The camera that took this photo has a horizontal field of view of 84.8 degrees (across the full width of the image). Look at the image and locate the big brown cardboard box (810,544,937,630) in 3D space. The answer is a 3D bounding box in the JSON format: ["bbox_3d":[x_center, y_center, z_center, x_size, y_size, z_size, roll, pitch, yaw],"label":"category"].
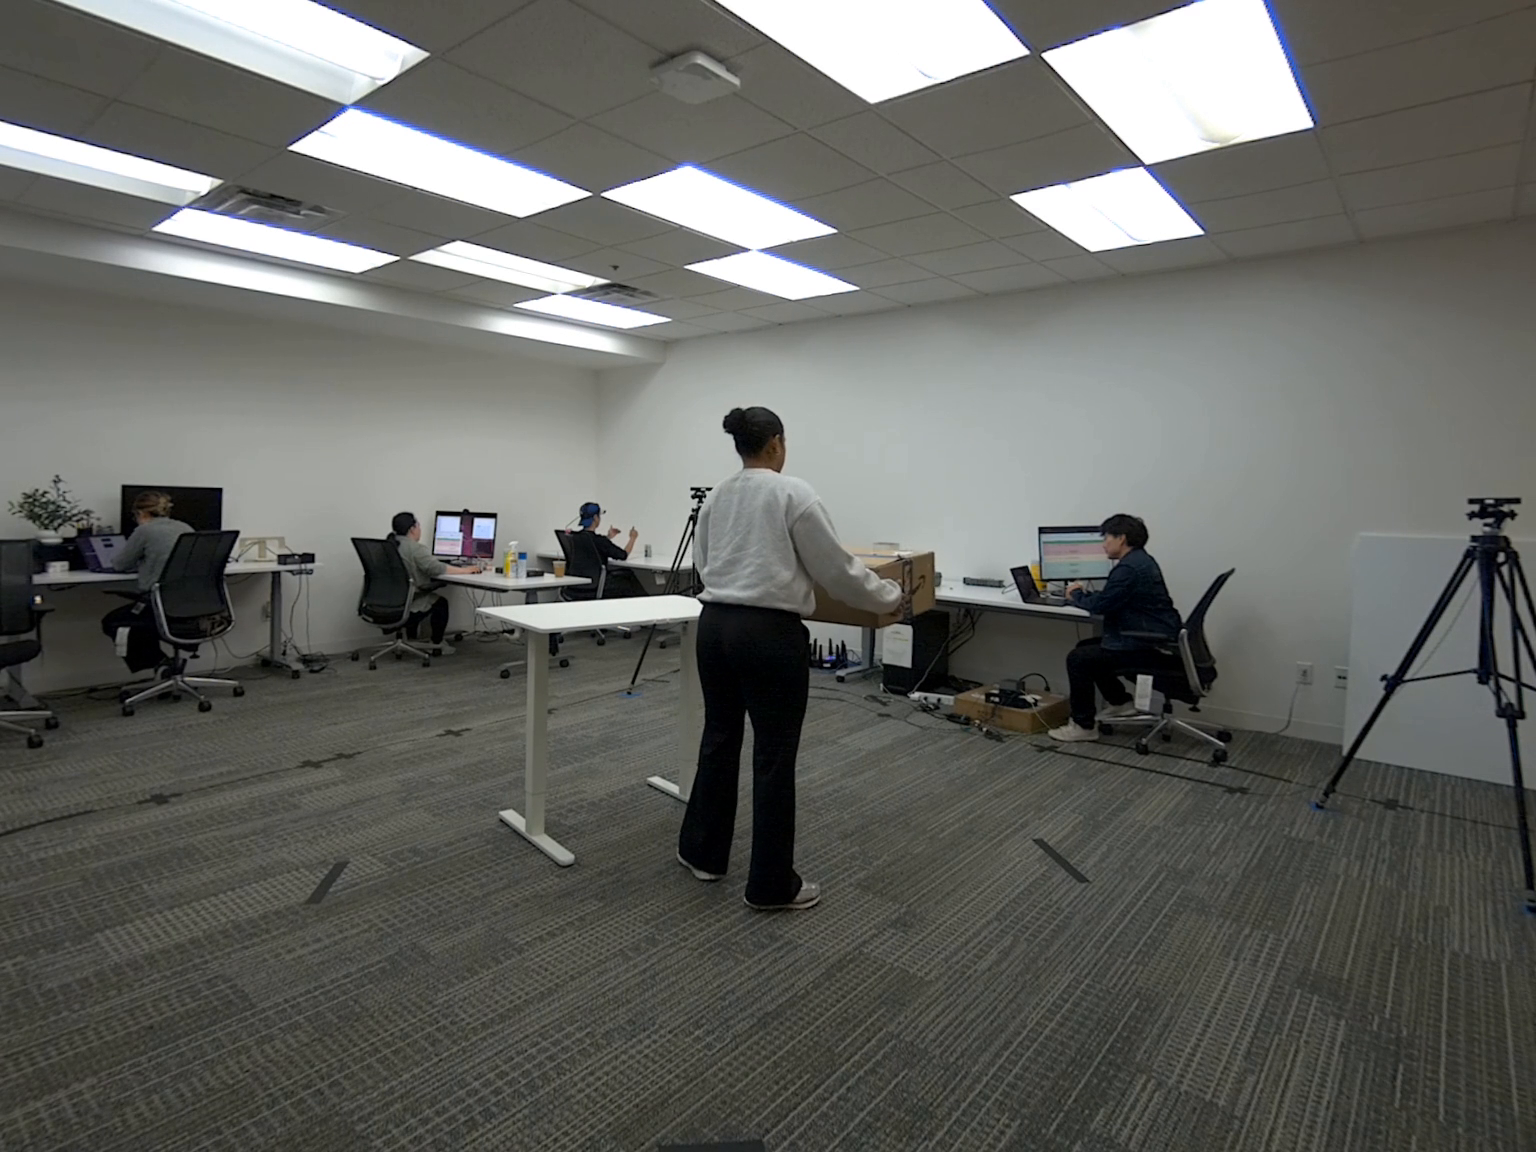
[{"bbox_3d":[0.265,0.026,3.225,0.608,0.231,0.407,4,11,39],"label":"big brown cardboard box"}]
